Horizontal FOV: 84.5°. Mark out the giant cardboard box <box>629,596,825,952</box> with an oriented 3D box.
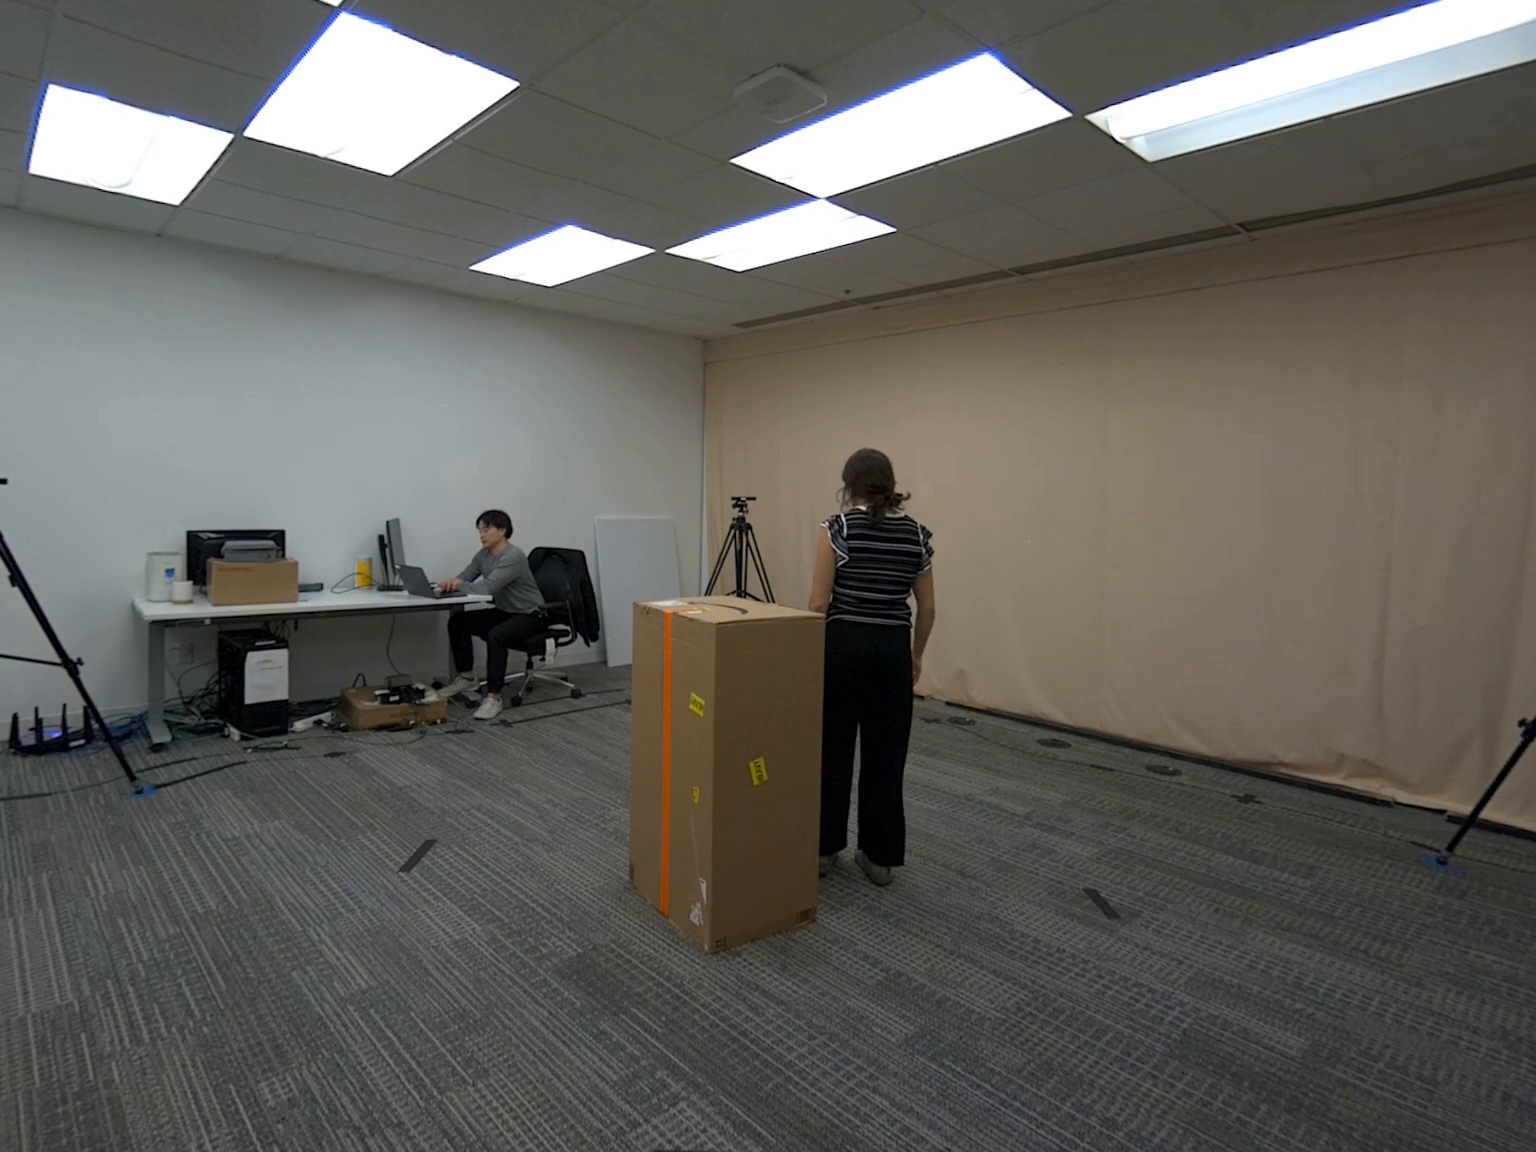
[{"bbox_3d":[-0.170,0.618,2.880,0.417,1.023,0.591,-1,4,-34],"label":"giant cardboard box"}]
